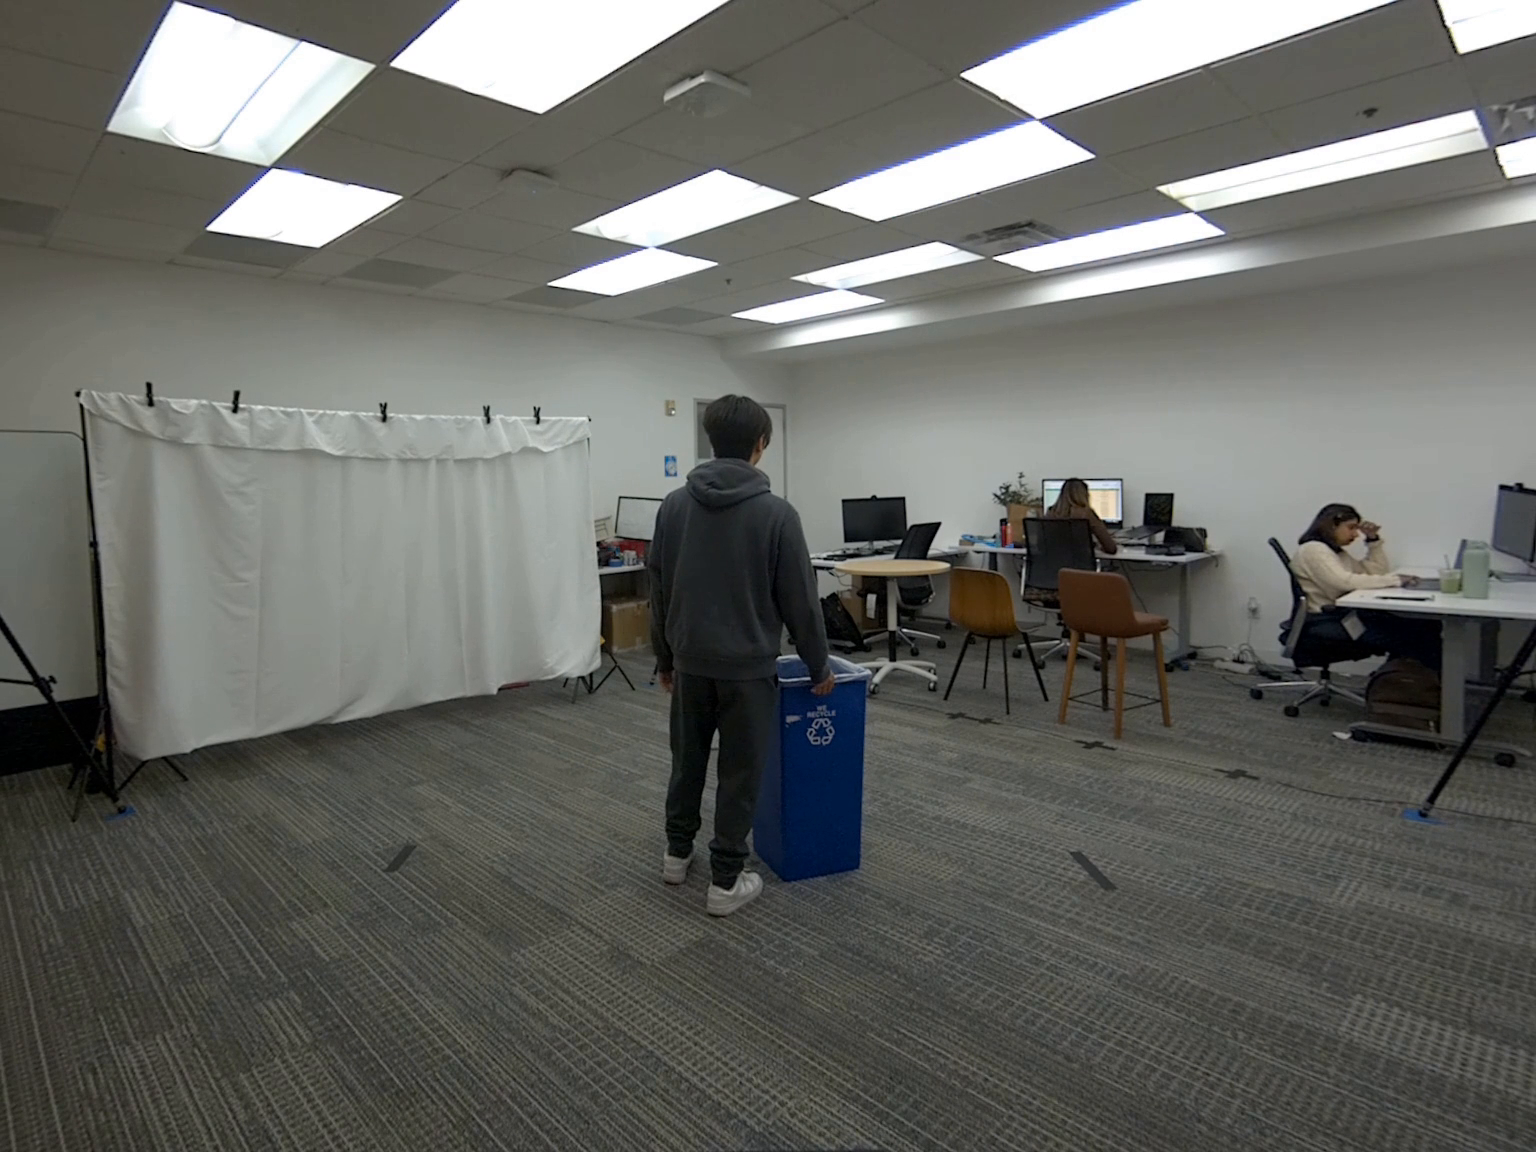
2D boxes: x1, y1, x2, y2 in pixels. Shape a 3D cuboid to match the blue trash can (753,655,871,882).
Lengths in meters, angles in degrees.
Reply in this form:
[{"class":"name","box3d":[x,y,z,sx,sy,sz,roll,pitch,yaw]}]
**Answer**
[{"class":"blue trash can","box3d":[0.142,0.680,3.121,0.367,0.711,0.387,-3,5,-22]}]
